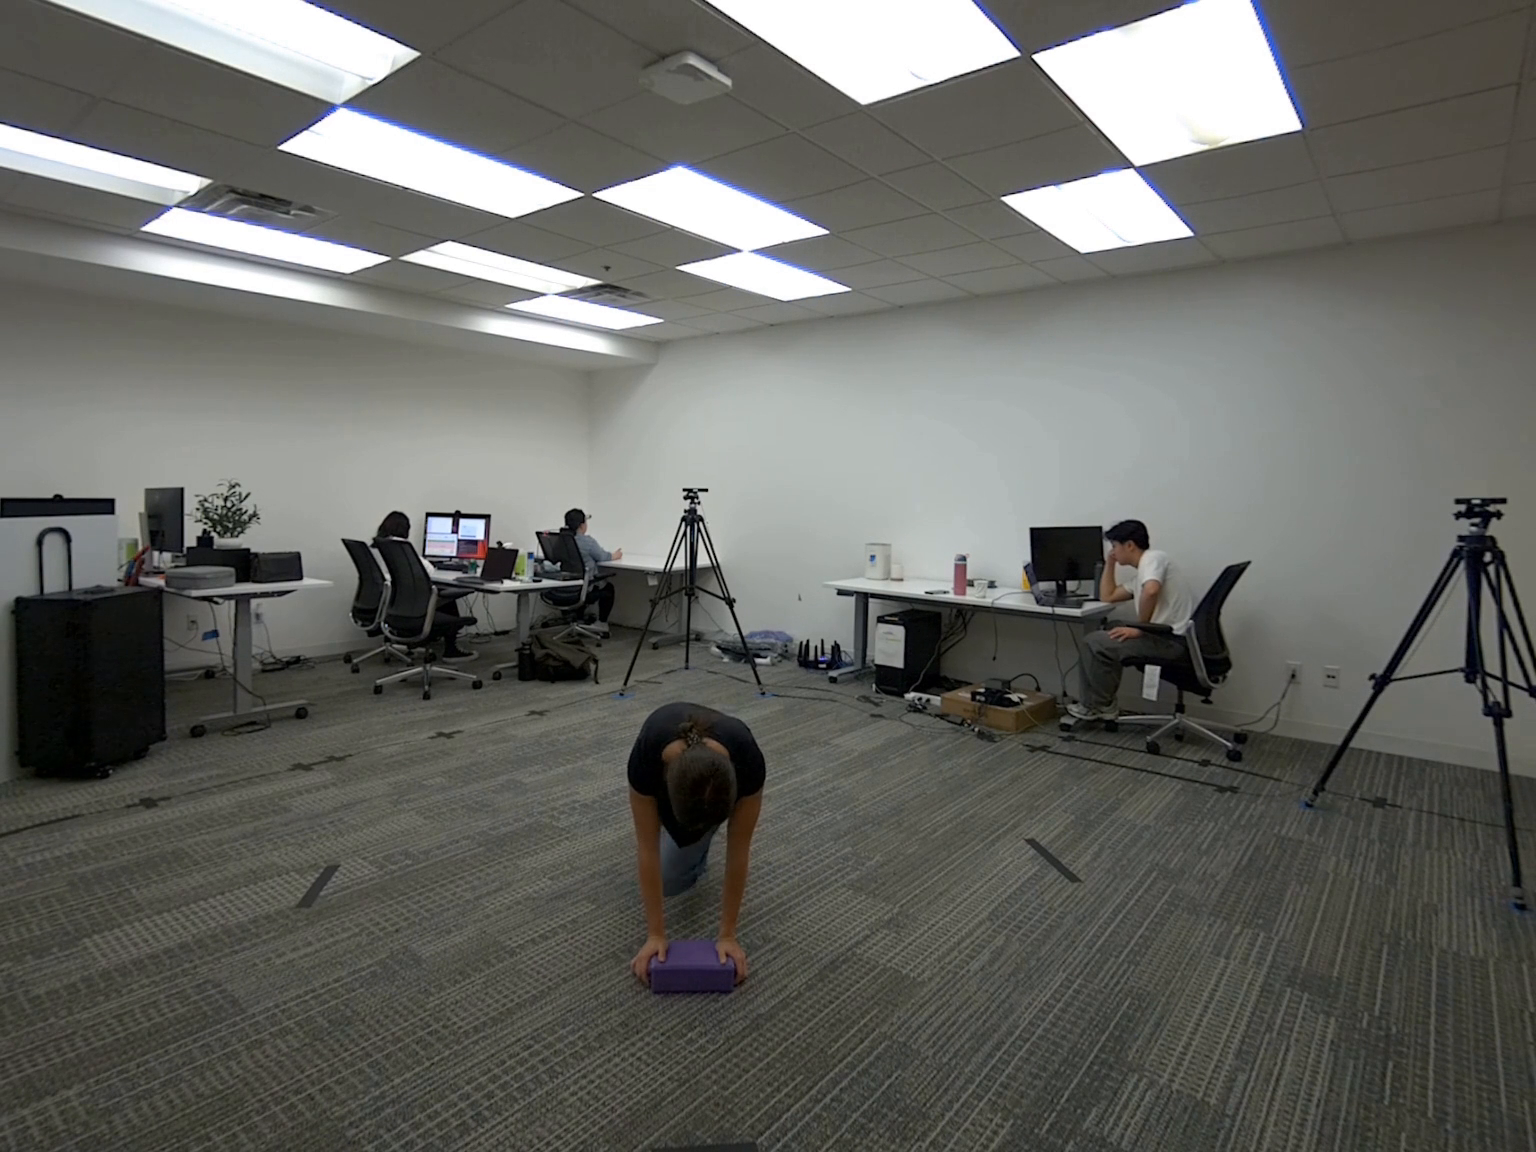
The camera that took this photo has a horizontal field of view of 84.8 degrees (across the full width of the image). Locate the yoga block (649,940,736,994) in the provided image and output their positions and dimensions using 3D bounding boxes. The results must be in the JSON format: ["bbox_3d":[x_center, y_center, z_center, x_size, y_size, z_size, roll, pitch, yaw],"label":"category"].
[{"bbox_3d":[-0.216,1.099,2.409,0.228,0.076,0.150,2,4,-4],"label":"yoga block"}]
